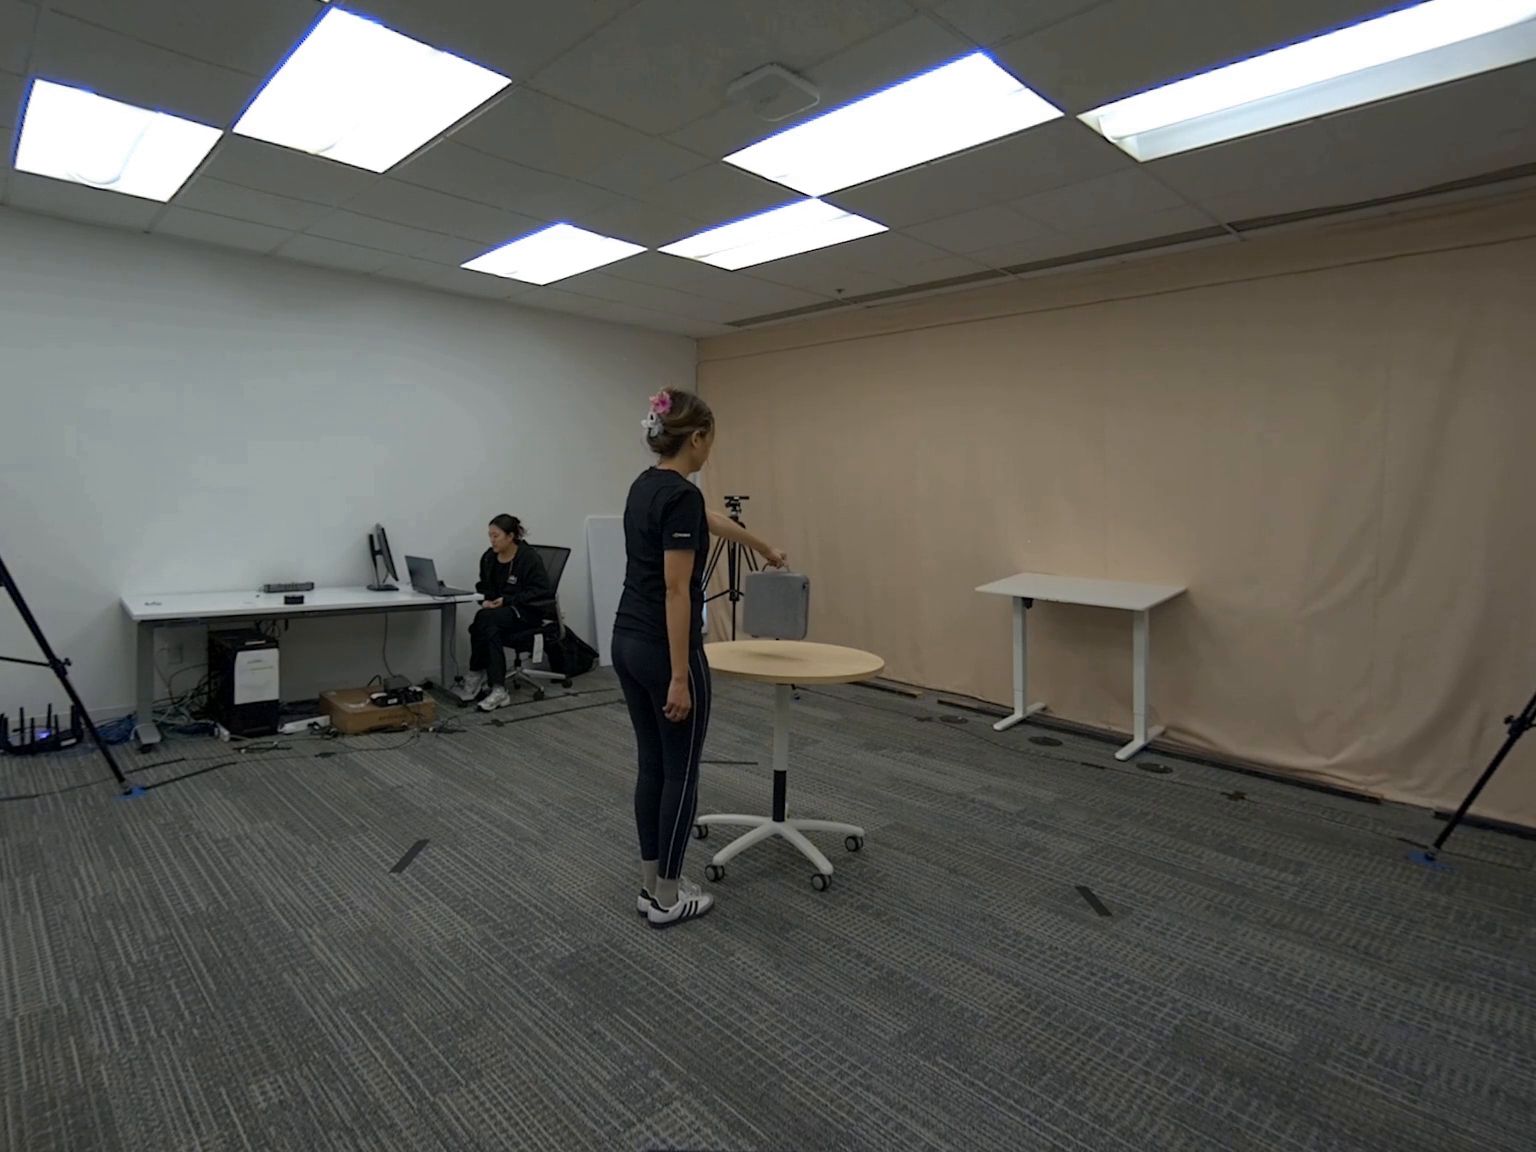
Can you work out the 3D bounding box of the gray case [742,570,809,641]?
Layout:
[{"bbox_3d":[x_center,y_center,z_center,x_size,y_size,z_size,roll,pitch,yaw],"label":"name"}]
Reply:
[{"bbox_3d":[0.026,0.110,3.239,0.262,0.261,0.102,1,-1,31],"label":"gray case"}]
